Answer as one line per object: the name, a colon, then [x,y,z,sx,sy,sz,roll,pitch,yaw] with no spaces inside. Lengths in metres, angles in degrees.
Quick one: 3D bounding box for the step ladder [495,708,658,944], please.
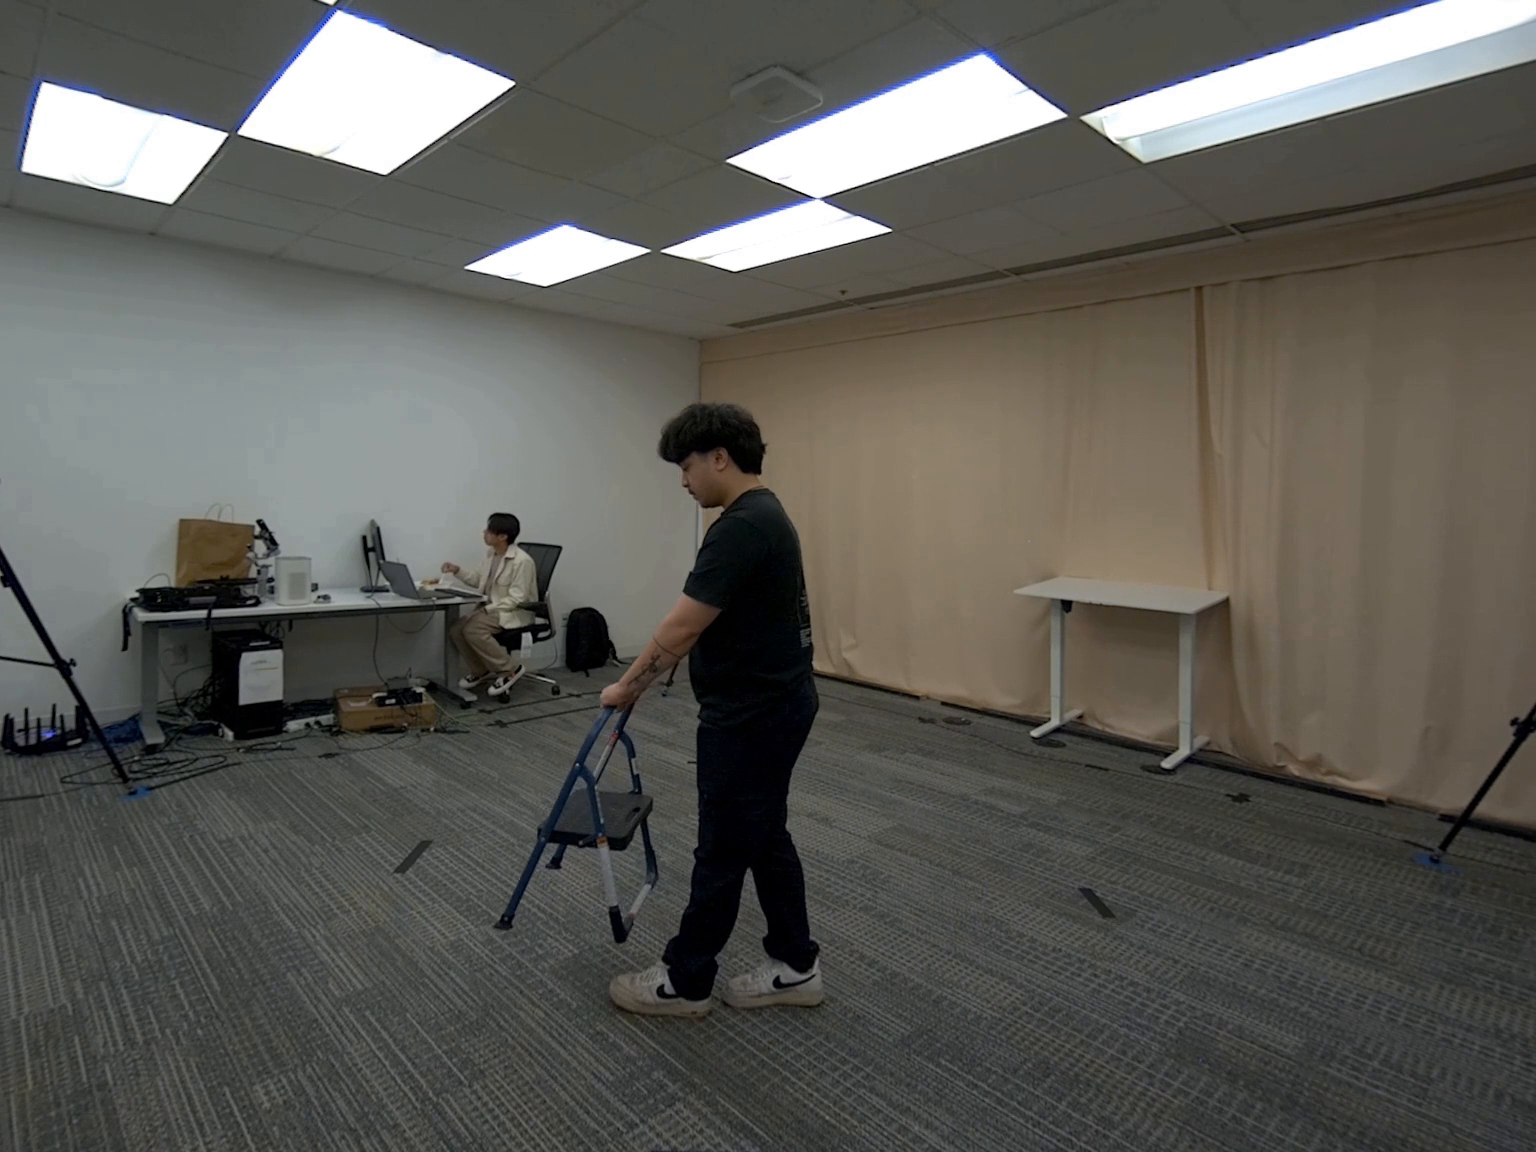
step ladder: [-0.501,0.627,2.343,0.351,0.605,0.429,4,3,4]
